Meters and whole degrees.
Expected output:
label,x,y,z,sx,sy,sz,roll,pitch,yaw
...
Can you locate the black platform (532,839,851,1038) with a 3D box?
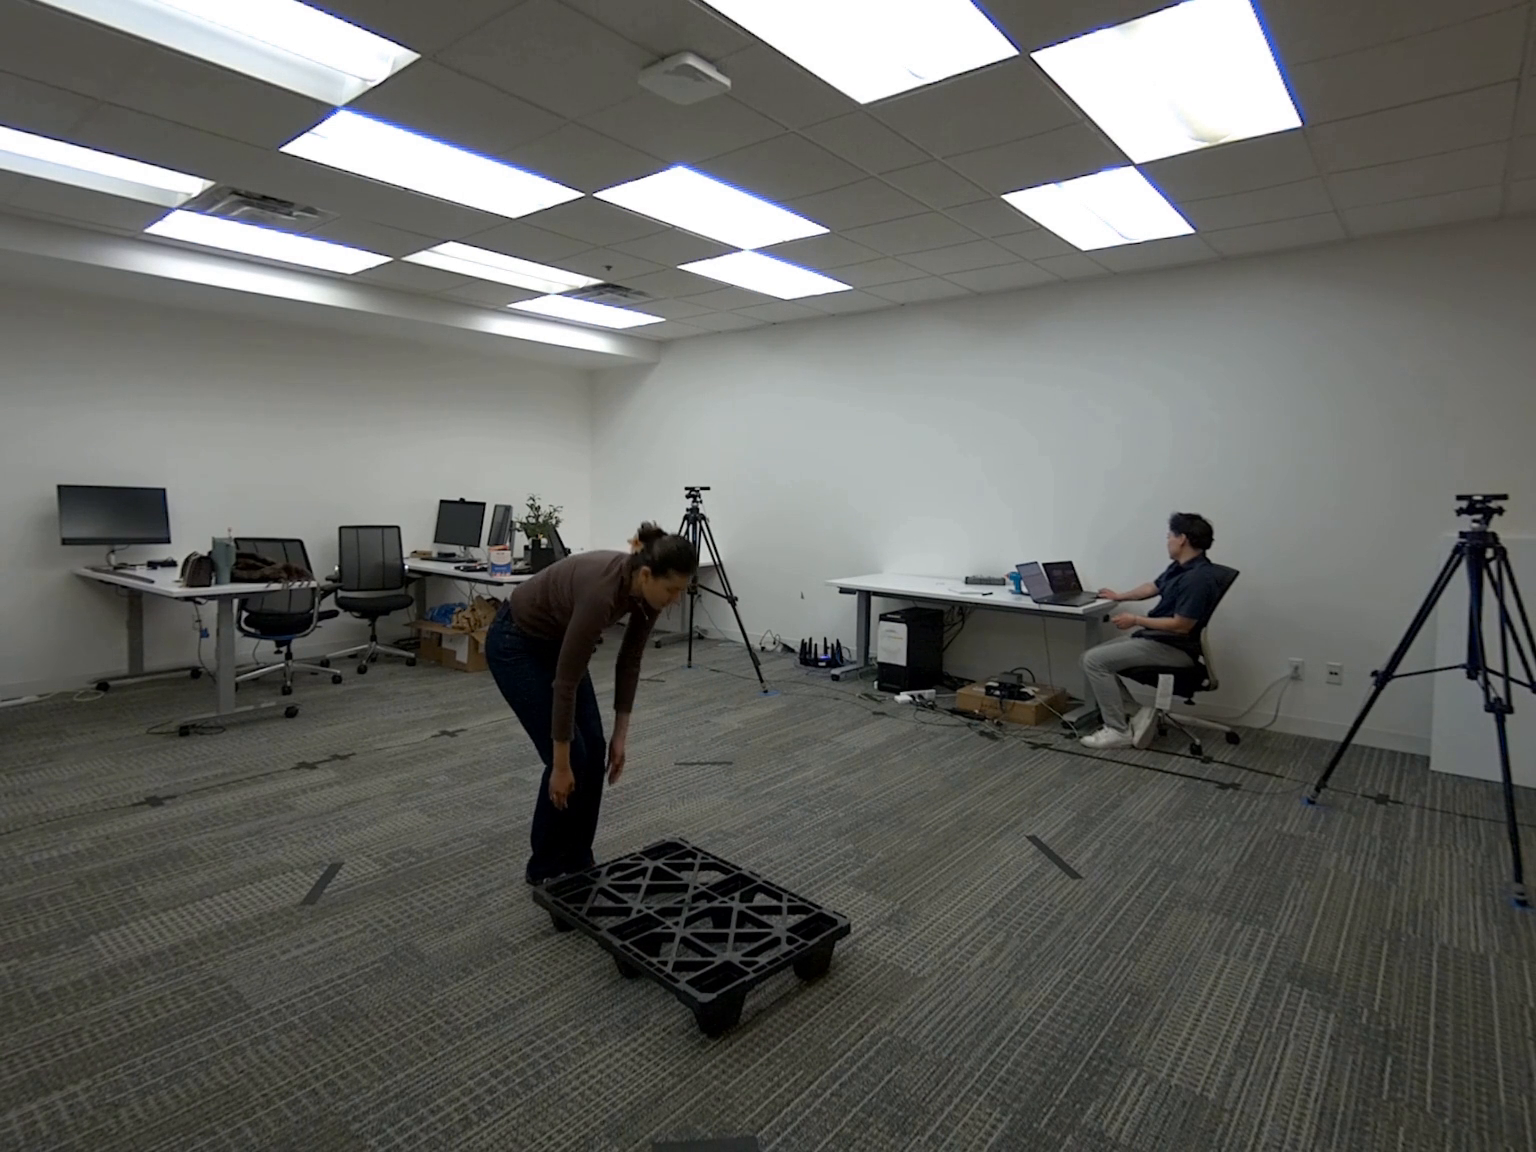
label,x,y,z,sx,sy,sz,roll,pitch,yaw
black platform,-0.254,1.053,2.573,0.834,0.143,0.587,7,8,44
